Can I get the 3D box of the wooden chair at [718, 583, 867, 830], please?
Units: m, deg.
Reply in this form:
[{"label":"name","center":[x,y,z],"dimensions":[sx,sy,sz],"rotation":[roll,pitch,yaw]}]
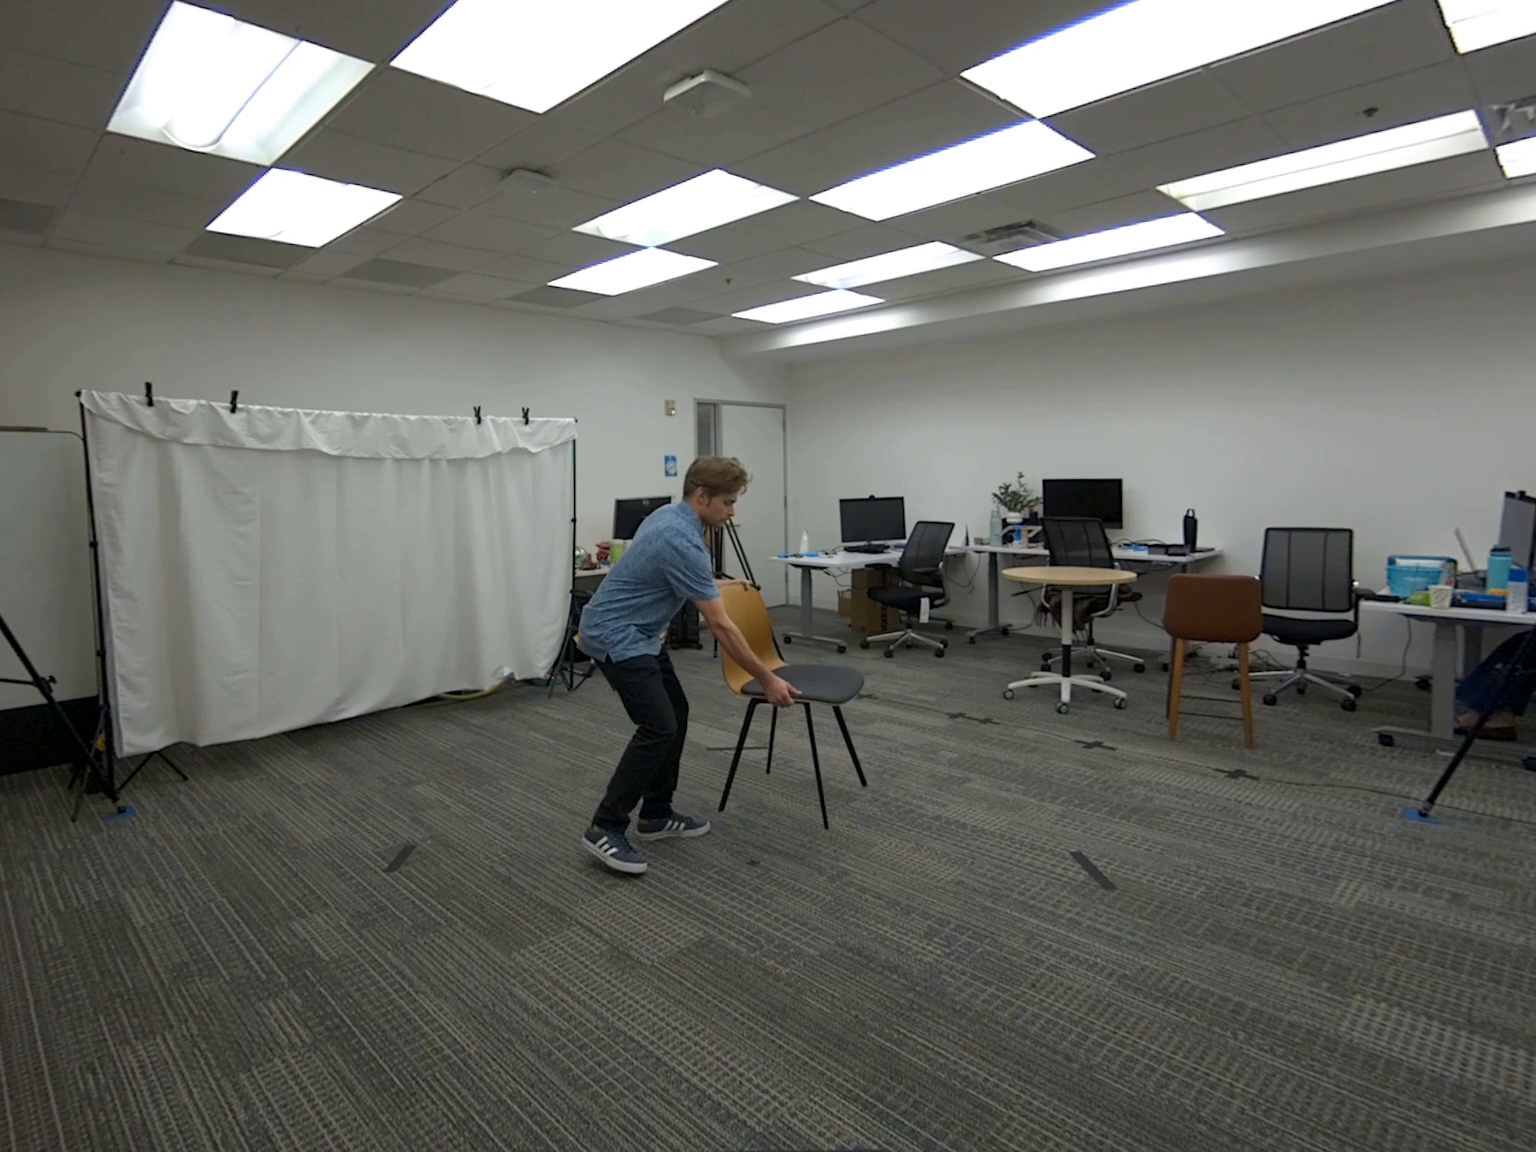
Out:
[{"label":"wooden chair","center":[0.095,0.466,3.369],"dimensions":[0.535,0.875,0.469],"rotation":[-5,3,27]}]
